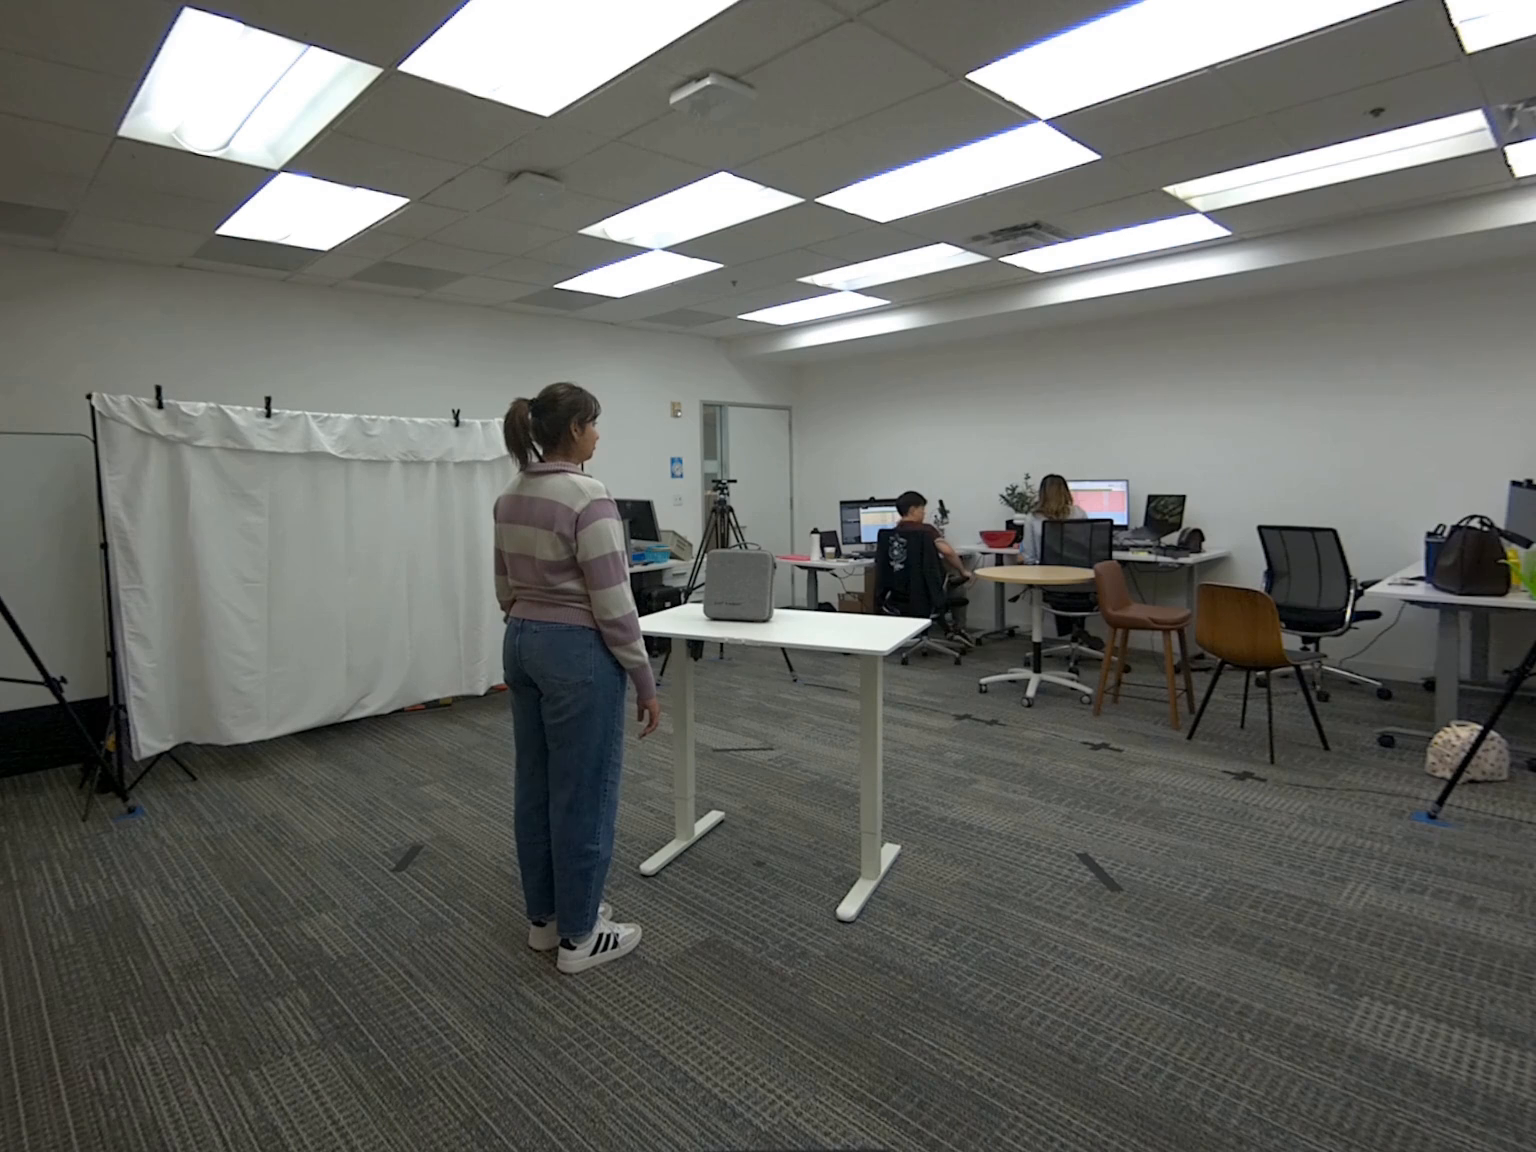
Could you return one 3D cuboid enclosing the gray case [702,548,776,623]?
[{"bbox_3d":[-0.102,0.030,3.130,0.261,0.262,0.102,2,-5,18],"label":"gray case"}]
